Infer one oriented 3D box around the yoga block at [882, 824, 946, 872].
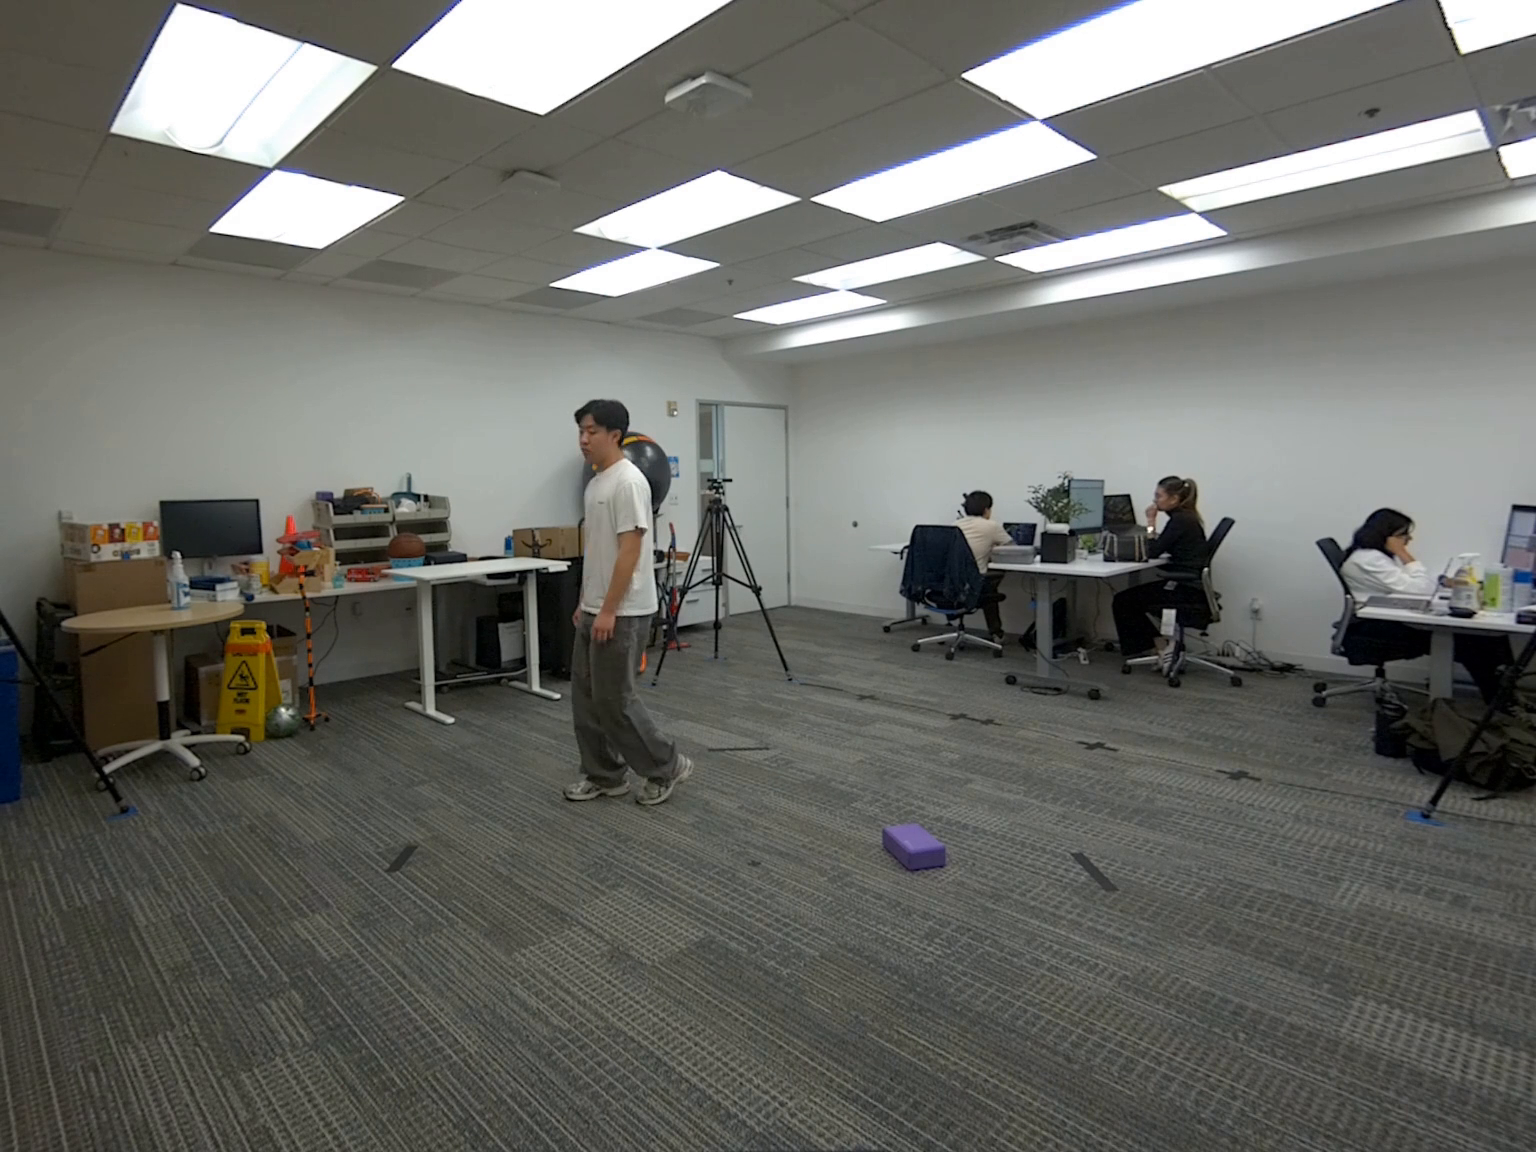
[{"bbox_3d":[0.538,0.992,3.144,0.147,0.076,0.233,-3,6,-15],"label":"yoga block"}]
